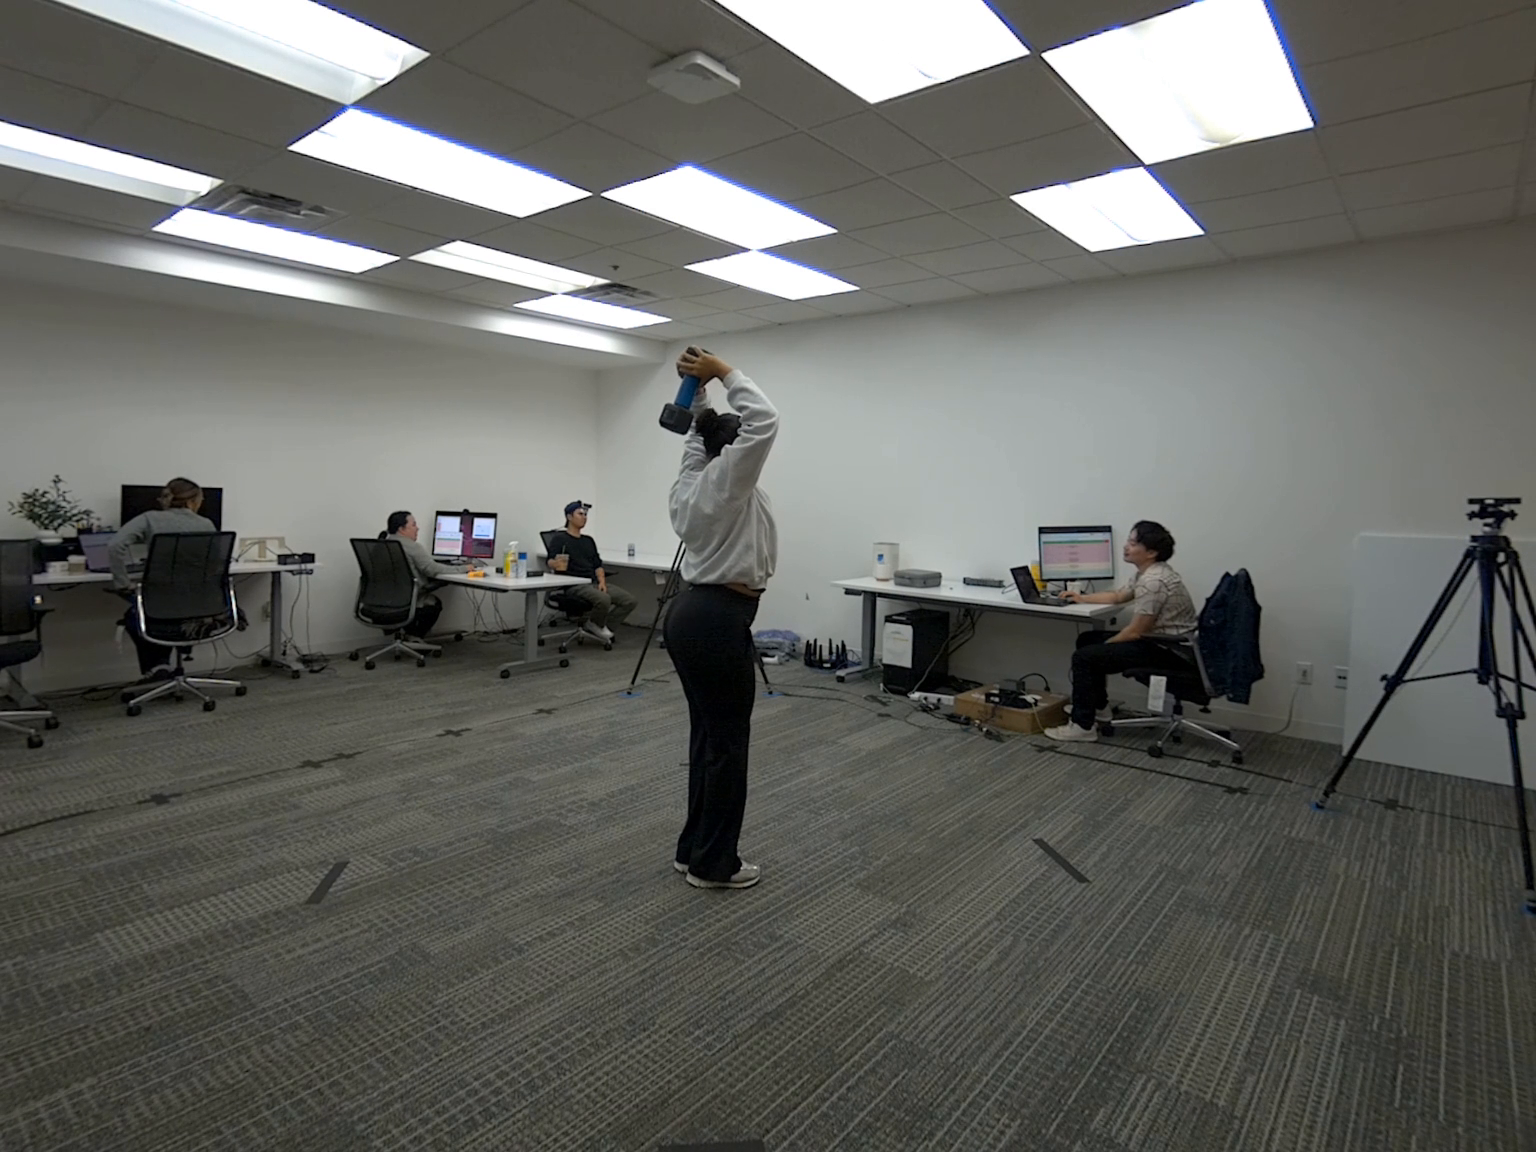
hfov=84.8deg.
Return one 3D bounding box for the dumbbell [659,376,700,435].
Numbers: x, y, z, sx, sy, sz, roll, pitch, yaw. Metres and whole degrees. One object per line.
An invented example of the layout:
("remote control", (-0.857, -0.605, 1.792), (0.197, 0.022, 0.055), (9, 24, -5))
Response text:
("dumbbell", (-0.287, -0.638, 2.945), (0.127, 0.293, 0.105), (21, -1, 25))
